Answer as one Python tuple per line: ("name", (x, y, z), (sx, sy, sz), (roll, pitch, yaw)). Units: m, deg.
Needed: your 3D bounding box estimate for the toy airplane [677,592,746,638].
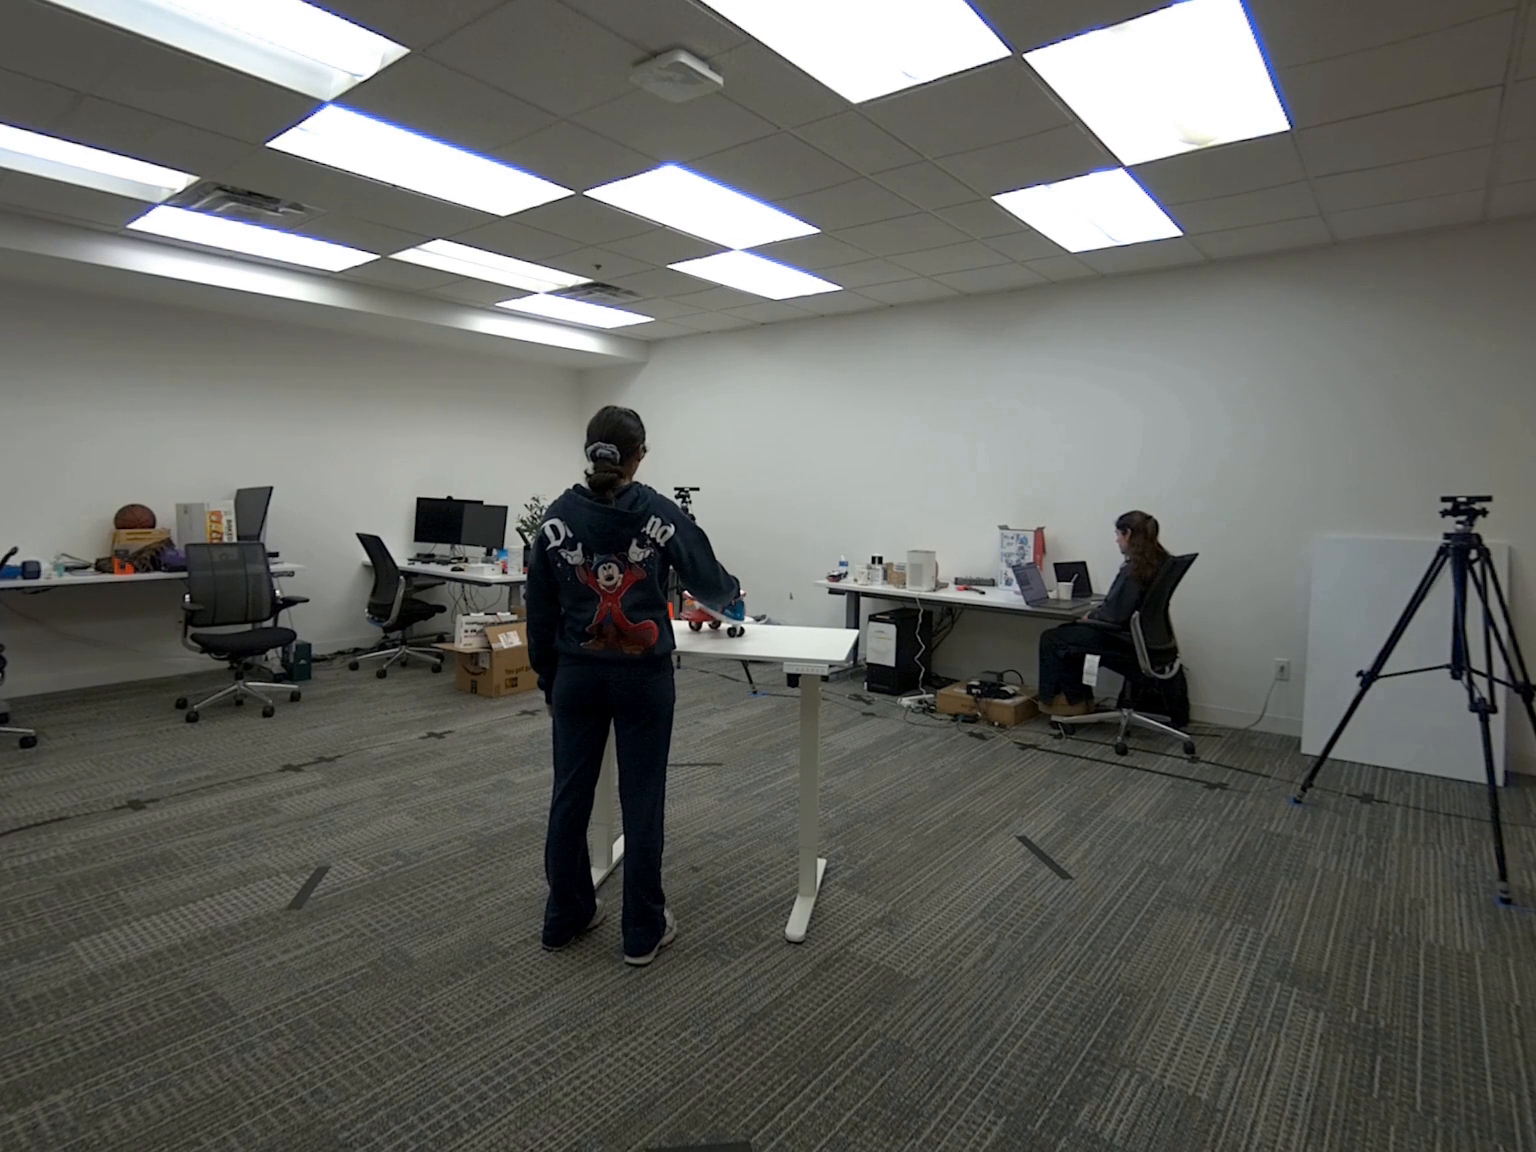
("toy airplane", (-0.166, 0.121, 3.005), (0.265, 0.156, 0.246), (2, 6, 22))
